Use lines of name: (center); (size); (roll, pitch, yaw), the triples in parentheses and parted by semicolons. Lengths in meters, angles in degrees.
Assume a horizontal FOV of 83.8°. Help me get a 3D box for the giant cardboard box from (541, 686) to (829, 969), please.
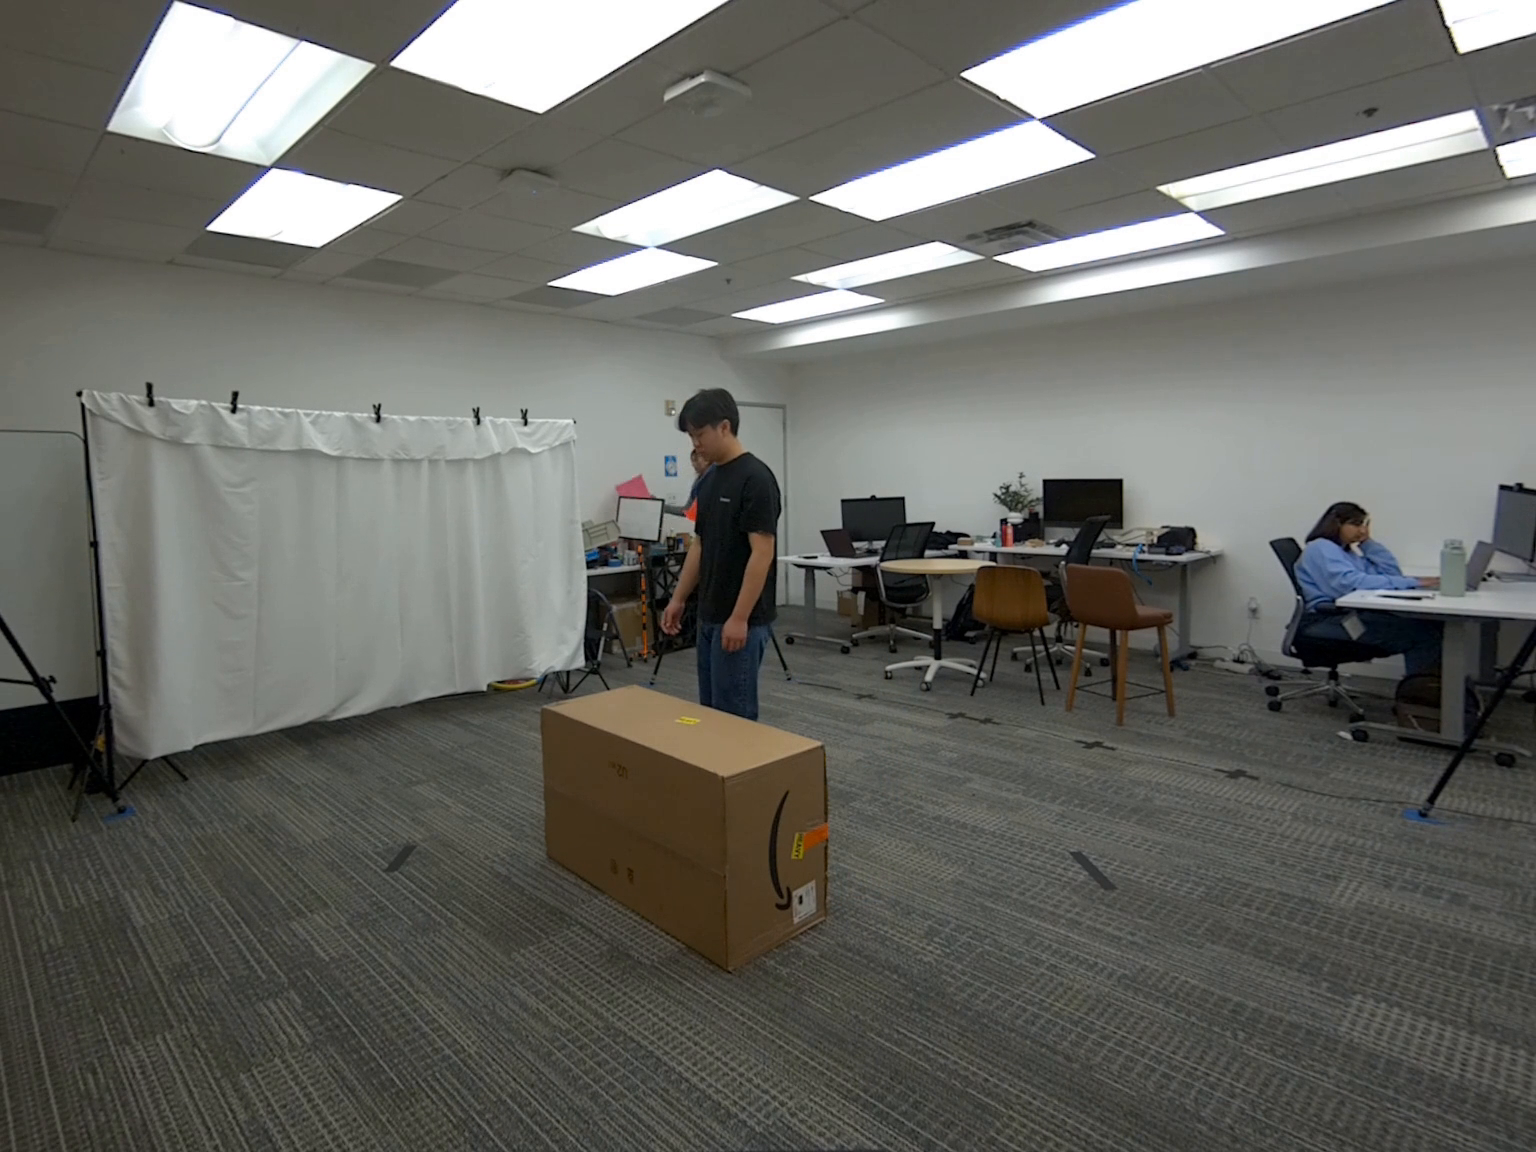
giant cardboard box: (-0.320, 0.784, 2.916); (0.435, 0.582, 1.059); (-4, 7, -43)
